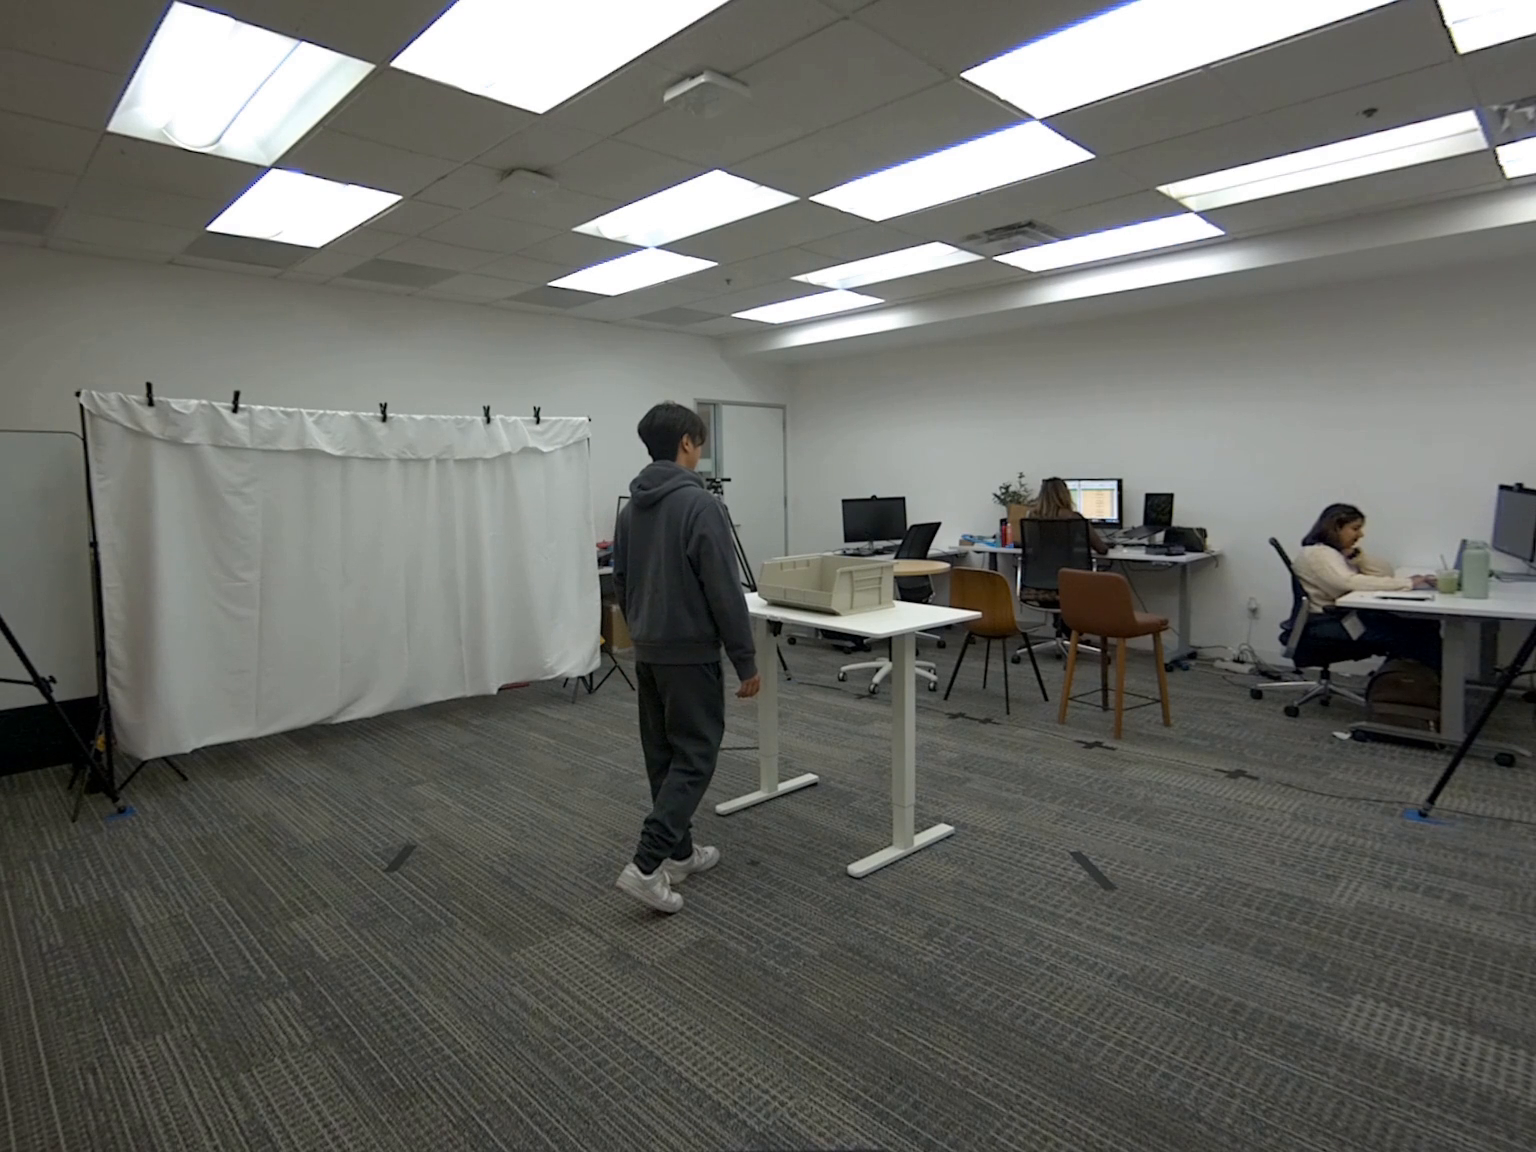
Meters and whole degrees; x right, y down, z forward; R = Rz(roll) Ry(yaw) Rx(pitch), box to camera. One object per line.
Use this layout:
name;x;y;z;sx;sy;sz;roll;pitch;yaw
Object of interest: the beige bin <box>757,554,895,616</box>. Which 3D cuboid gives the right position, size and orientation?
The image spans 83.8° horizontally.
beige bin;0.235;0.033;3.395;0.367;0.188;0.435;-6;8;-41
